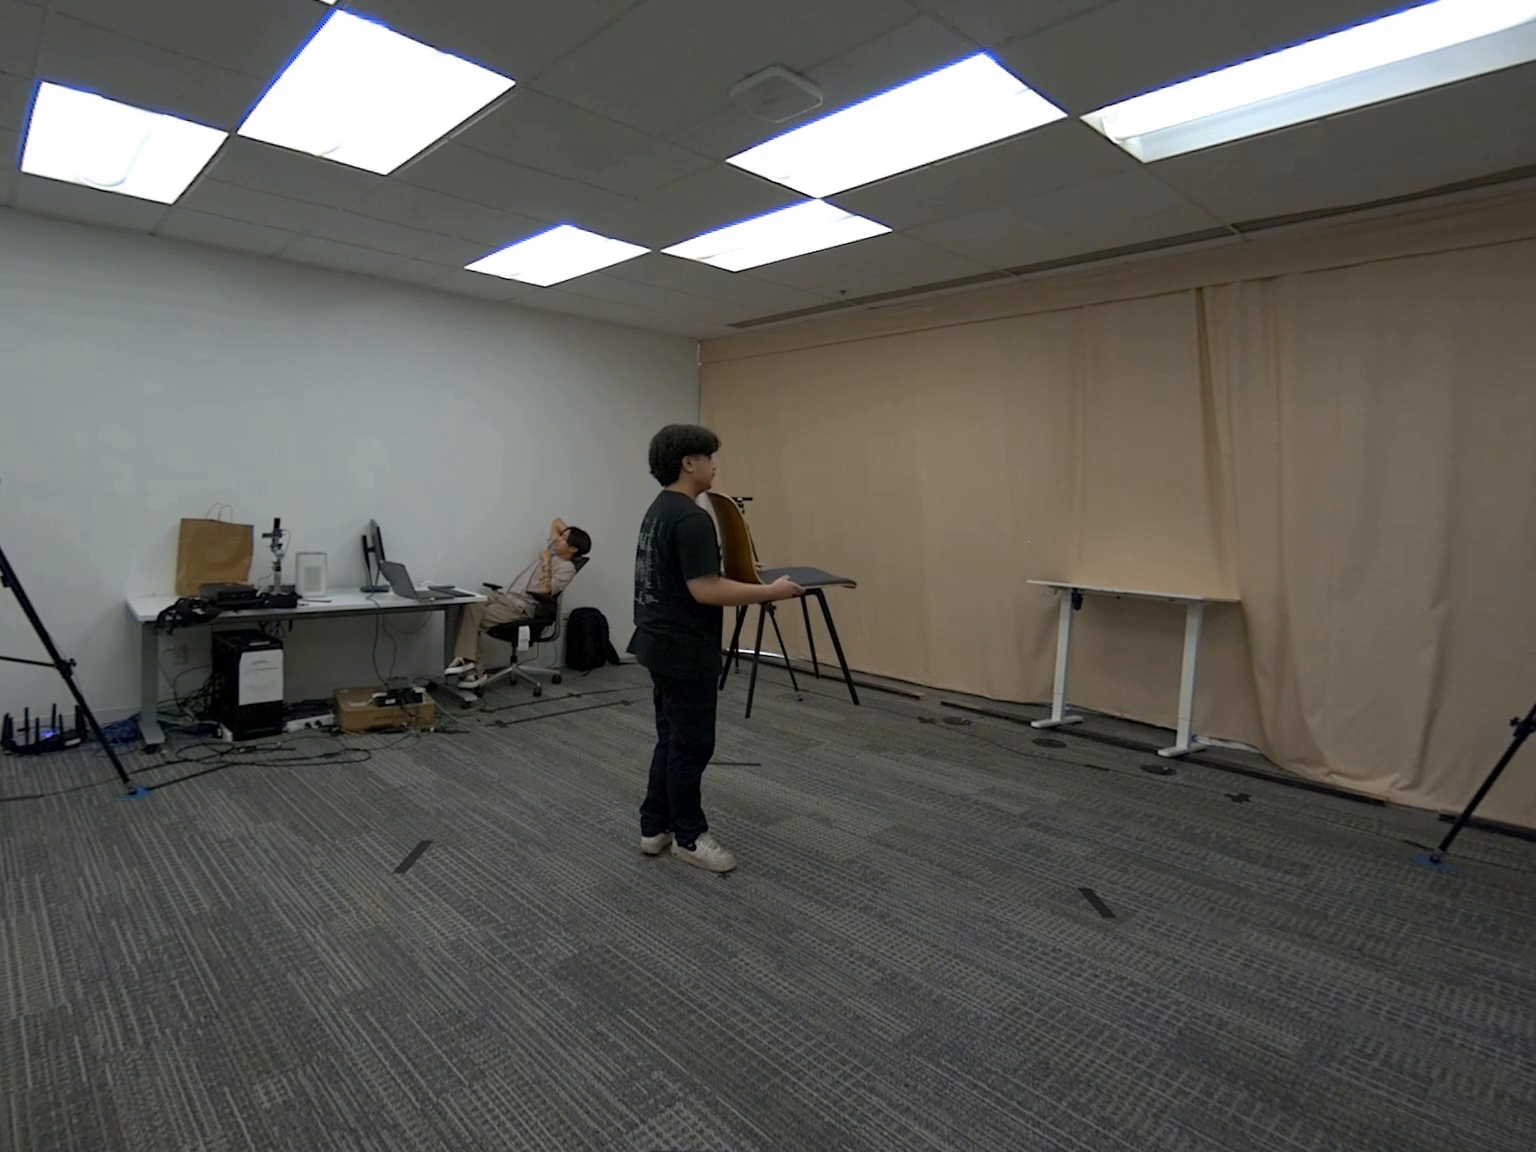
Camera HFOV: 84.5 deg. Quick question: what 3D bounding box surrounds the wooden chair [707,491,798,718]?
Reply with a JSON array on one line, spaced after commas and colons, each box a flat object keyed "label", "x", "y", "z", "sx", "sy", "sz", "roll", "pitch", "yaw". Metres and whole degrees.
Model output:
[{"label": "wooden chair", "x": 0.049, "y": 0.067, "z": 3.364, "sx": 0.518, "sy": 0.873, "sz": 0.485, "roll": -8, "pitch": 6, "yaw": -15}]
